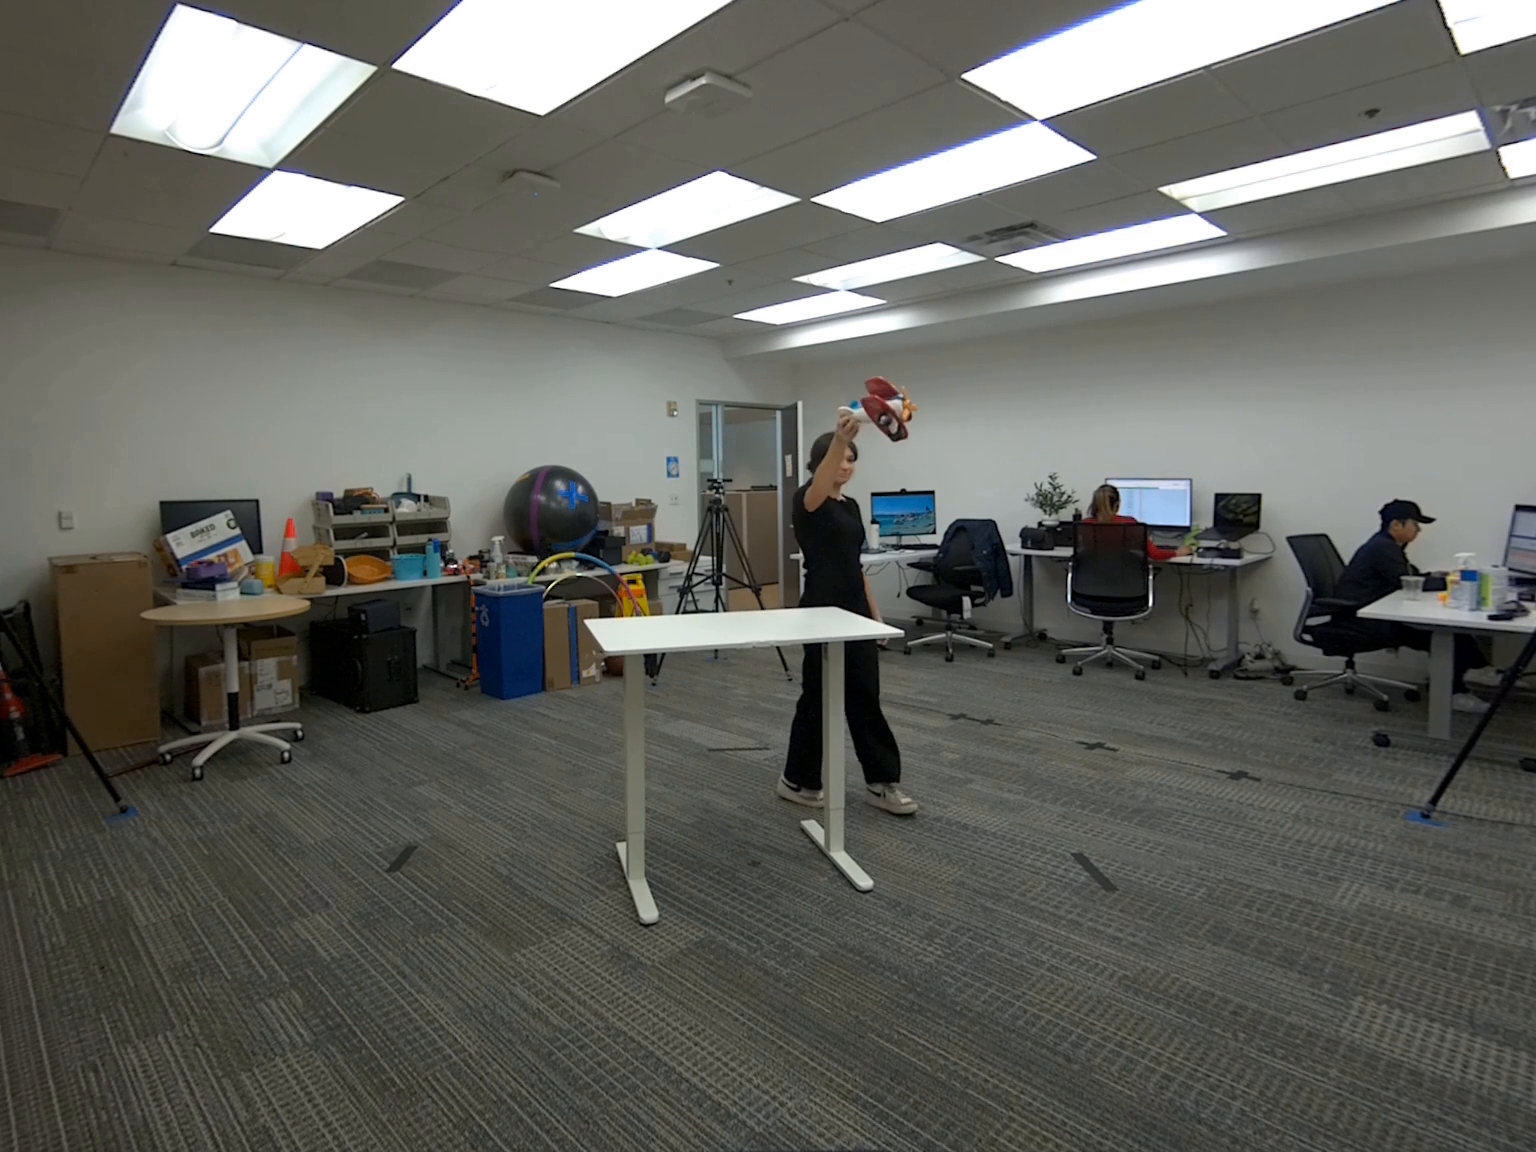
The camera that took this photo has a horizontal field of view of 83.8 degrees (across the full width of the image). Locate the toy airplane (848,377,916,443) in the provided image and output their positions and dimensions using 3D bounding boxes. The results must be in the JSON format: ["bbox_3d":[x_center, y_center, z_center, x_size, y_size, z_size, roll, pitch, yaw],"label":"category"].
[{"bbox_3d":[0.375,-0.576,2.986,0.265,0.157,0.244,23,-15,18],"label":"toy airplane"}]
